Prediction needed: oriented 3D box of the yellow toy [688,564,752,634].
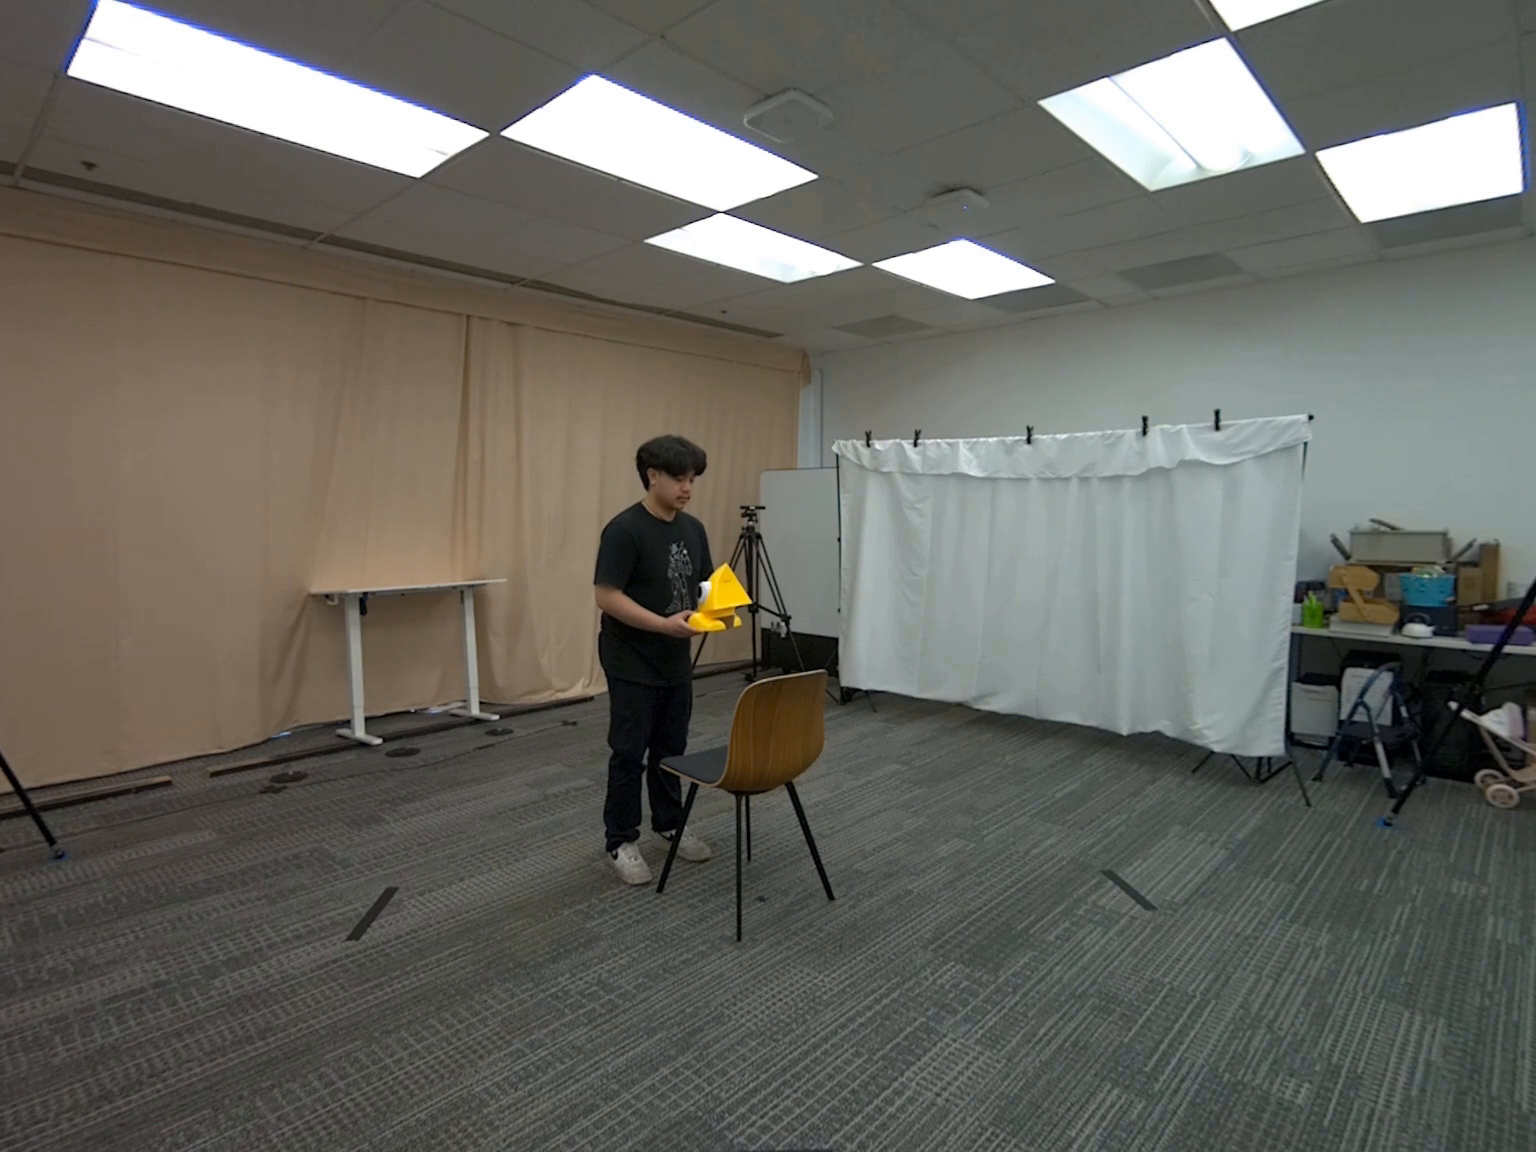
[{"bbox_3d":[-0.187,0.072,3.044,0.199,0.230,0.199,2,6,40],"label":"yellow toy"}]
